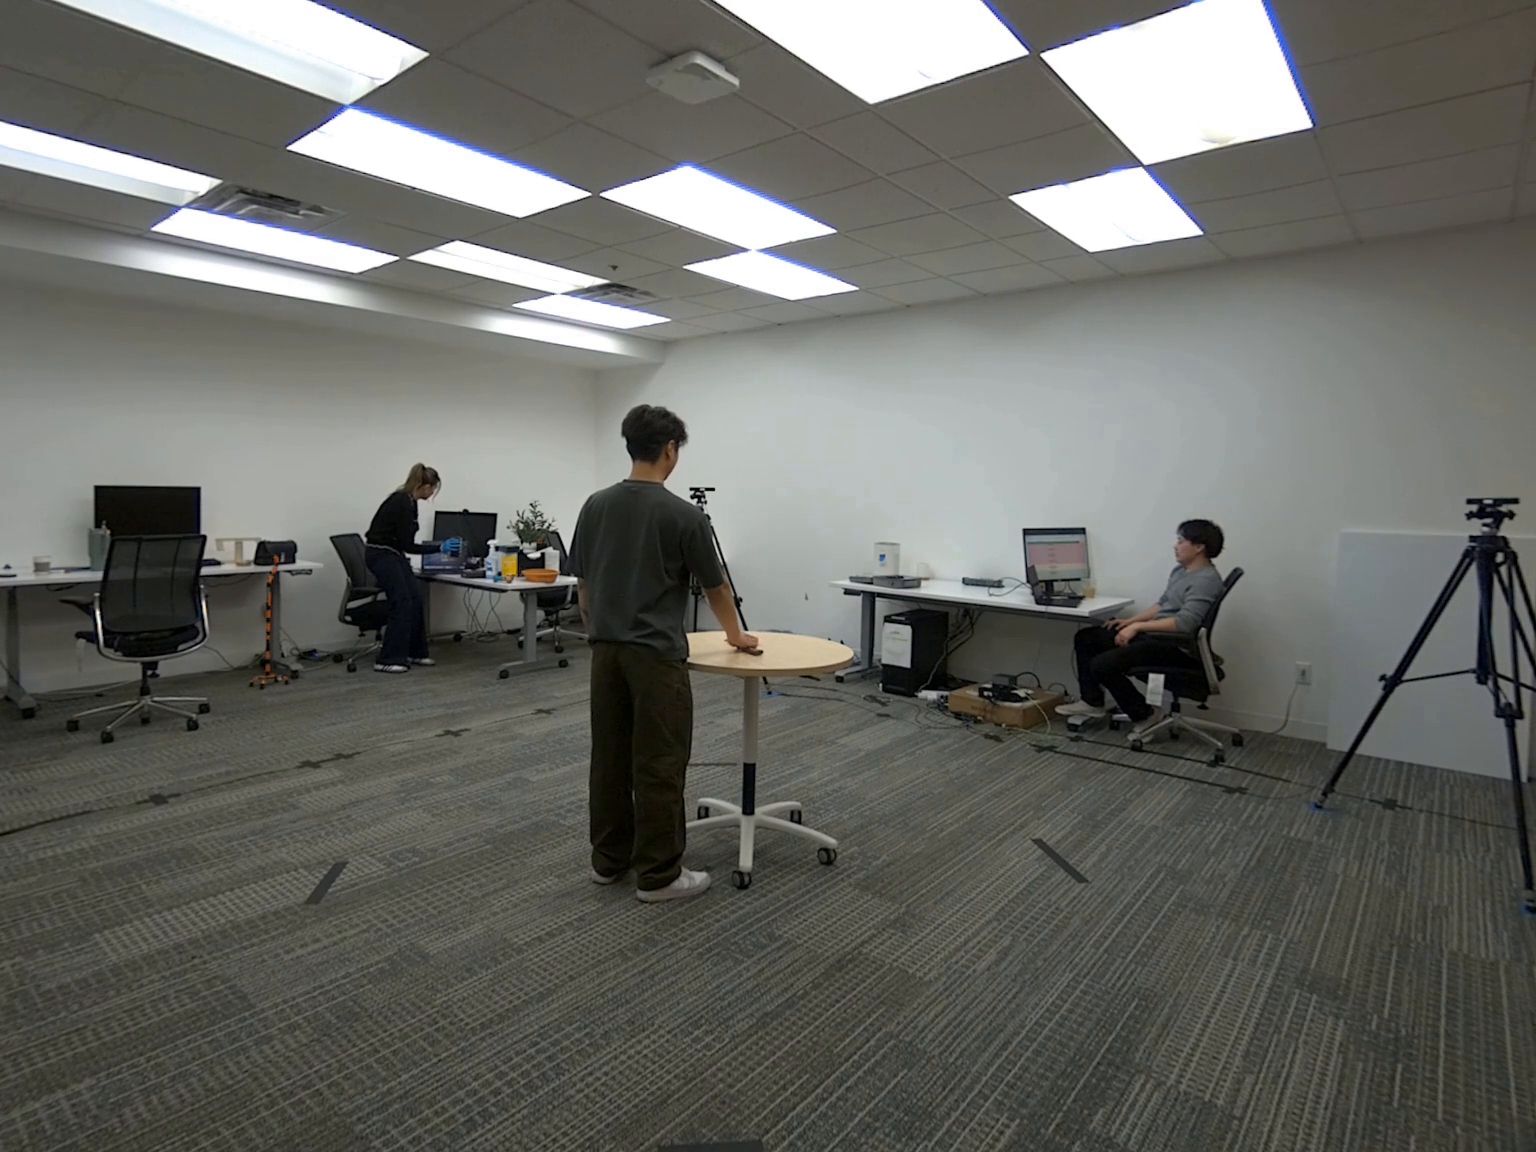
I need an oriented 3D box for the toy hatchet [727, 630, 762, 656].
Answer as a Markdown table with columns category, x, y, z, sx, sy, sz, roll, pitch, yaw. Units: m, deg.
| category | x | y | z | sx | sy | sz | roll | pitch | yaw |
| --- | --- | --- | --- | --- | --- | --- | --- | --- | --- |
| toy hatchet | -0.070 | 0.259 | 3.241 | 0.128 | 0.029 | 0.278 | -7 | 10 | -27 |
